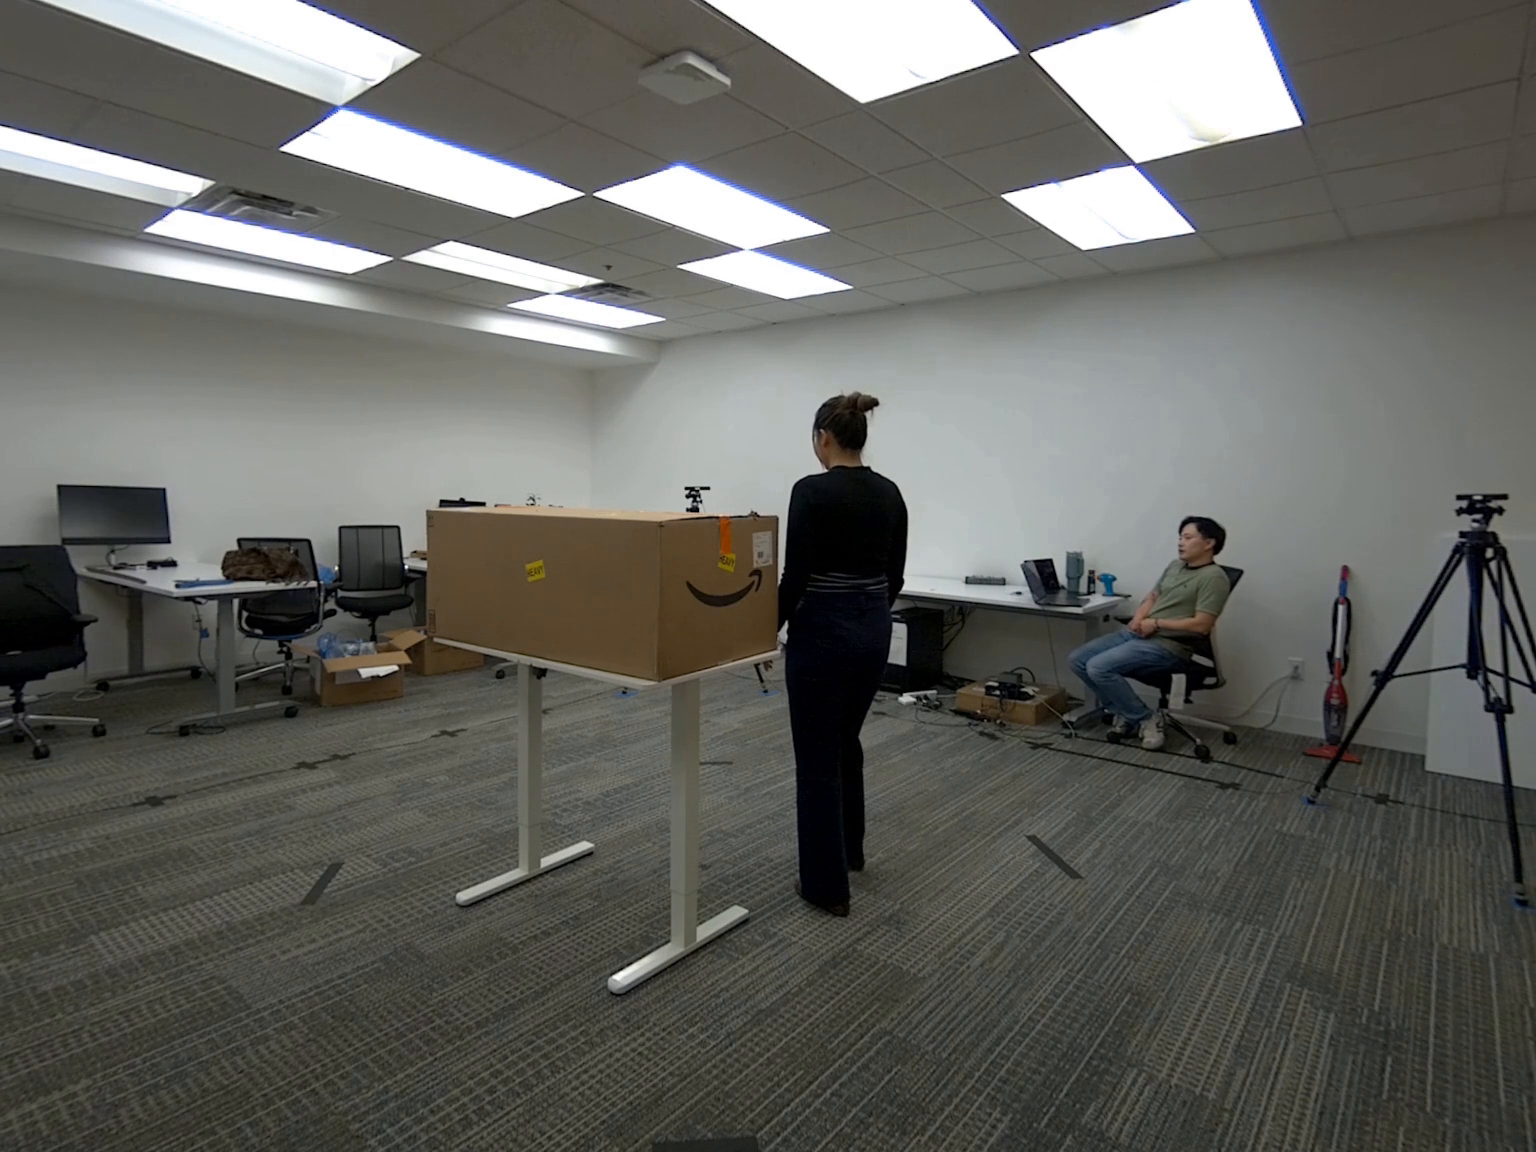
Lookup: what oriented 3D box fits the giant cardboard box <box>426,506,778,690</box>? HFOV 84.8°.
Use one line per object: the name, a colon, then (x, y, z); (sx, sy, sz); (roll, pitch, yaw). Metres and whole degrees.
giant cardboard box: (-0.557, 0.005, 2.736); (1.060, 0.424, 0.562); (5, 7, 36)
